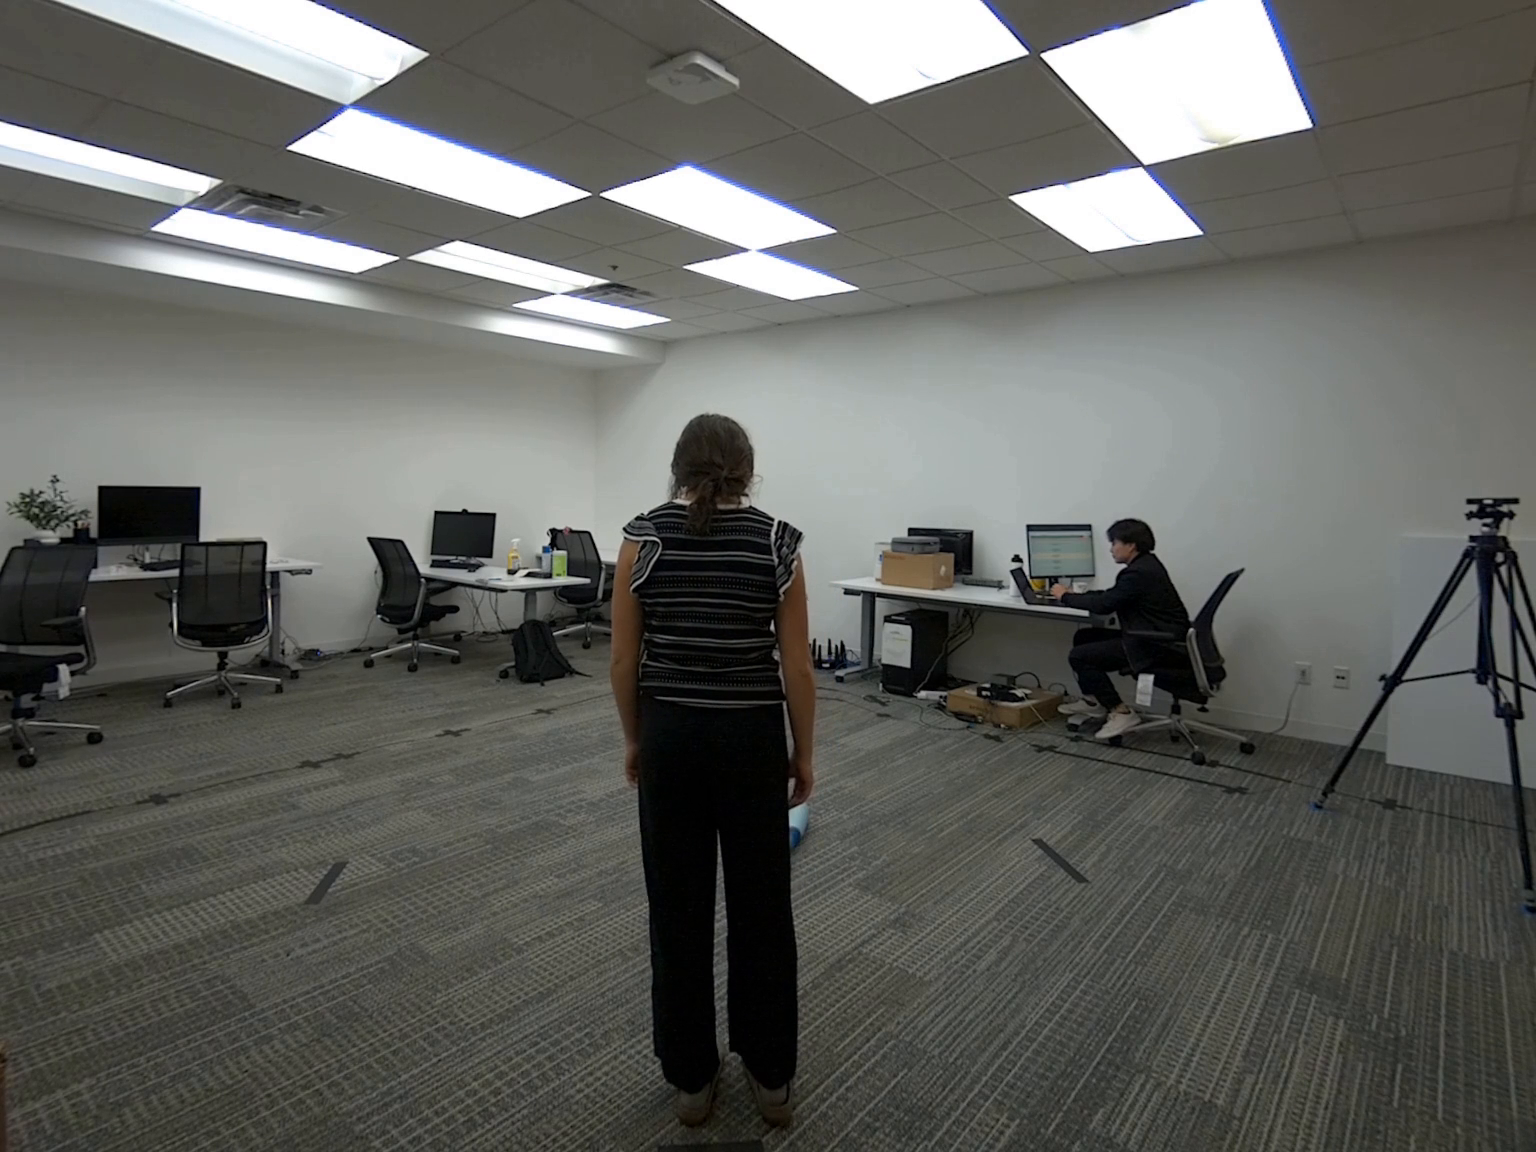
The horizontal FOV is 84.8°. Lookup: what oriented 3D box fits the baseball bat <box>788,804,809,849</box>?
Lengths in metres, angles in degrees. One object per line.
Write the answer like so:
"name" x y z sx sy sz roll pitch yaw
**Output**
"baseball bat" 0.084 1.018 3.320 0.090 0.088 0.541 1 9 8
